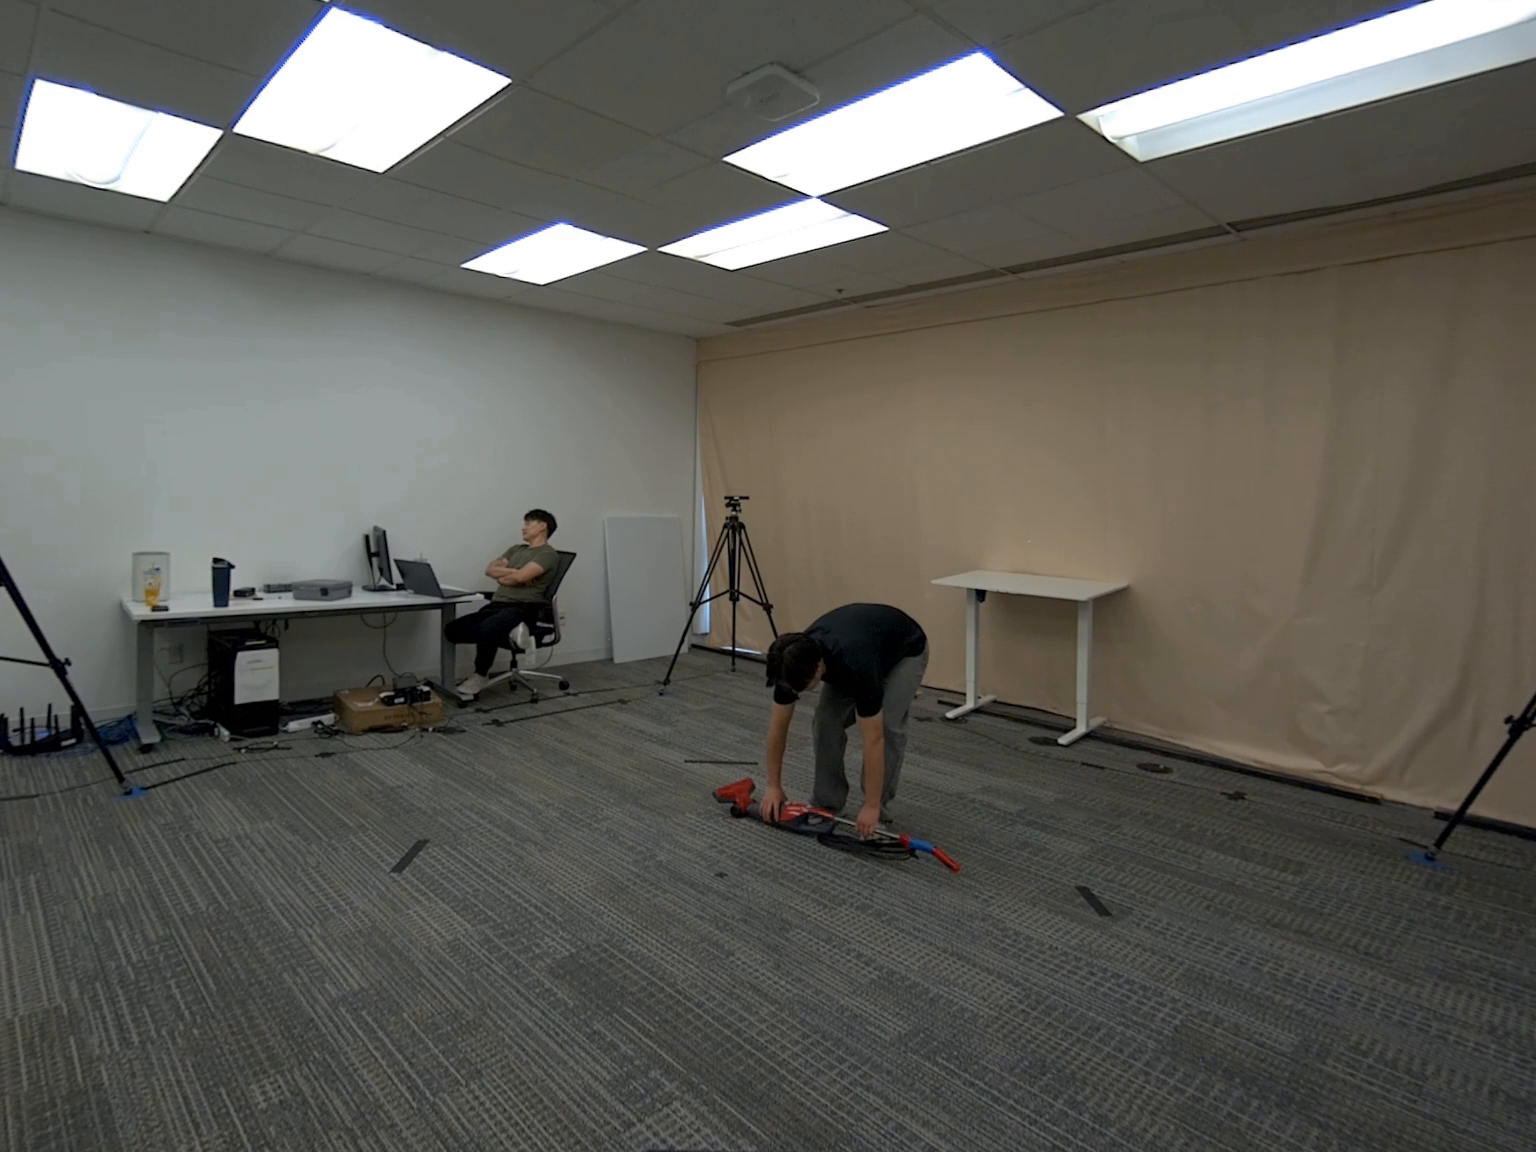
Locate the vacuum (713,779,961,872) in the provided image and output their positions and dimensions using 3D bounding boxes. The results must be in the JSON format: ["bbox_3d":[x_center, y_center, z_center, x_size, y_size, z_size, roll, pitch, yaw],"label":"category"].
[{"bbox_3d":[0.253,1.020,3.387,1.076,0.144,0.247,6,5,40],"label":"vacuum"}]
